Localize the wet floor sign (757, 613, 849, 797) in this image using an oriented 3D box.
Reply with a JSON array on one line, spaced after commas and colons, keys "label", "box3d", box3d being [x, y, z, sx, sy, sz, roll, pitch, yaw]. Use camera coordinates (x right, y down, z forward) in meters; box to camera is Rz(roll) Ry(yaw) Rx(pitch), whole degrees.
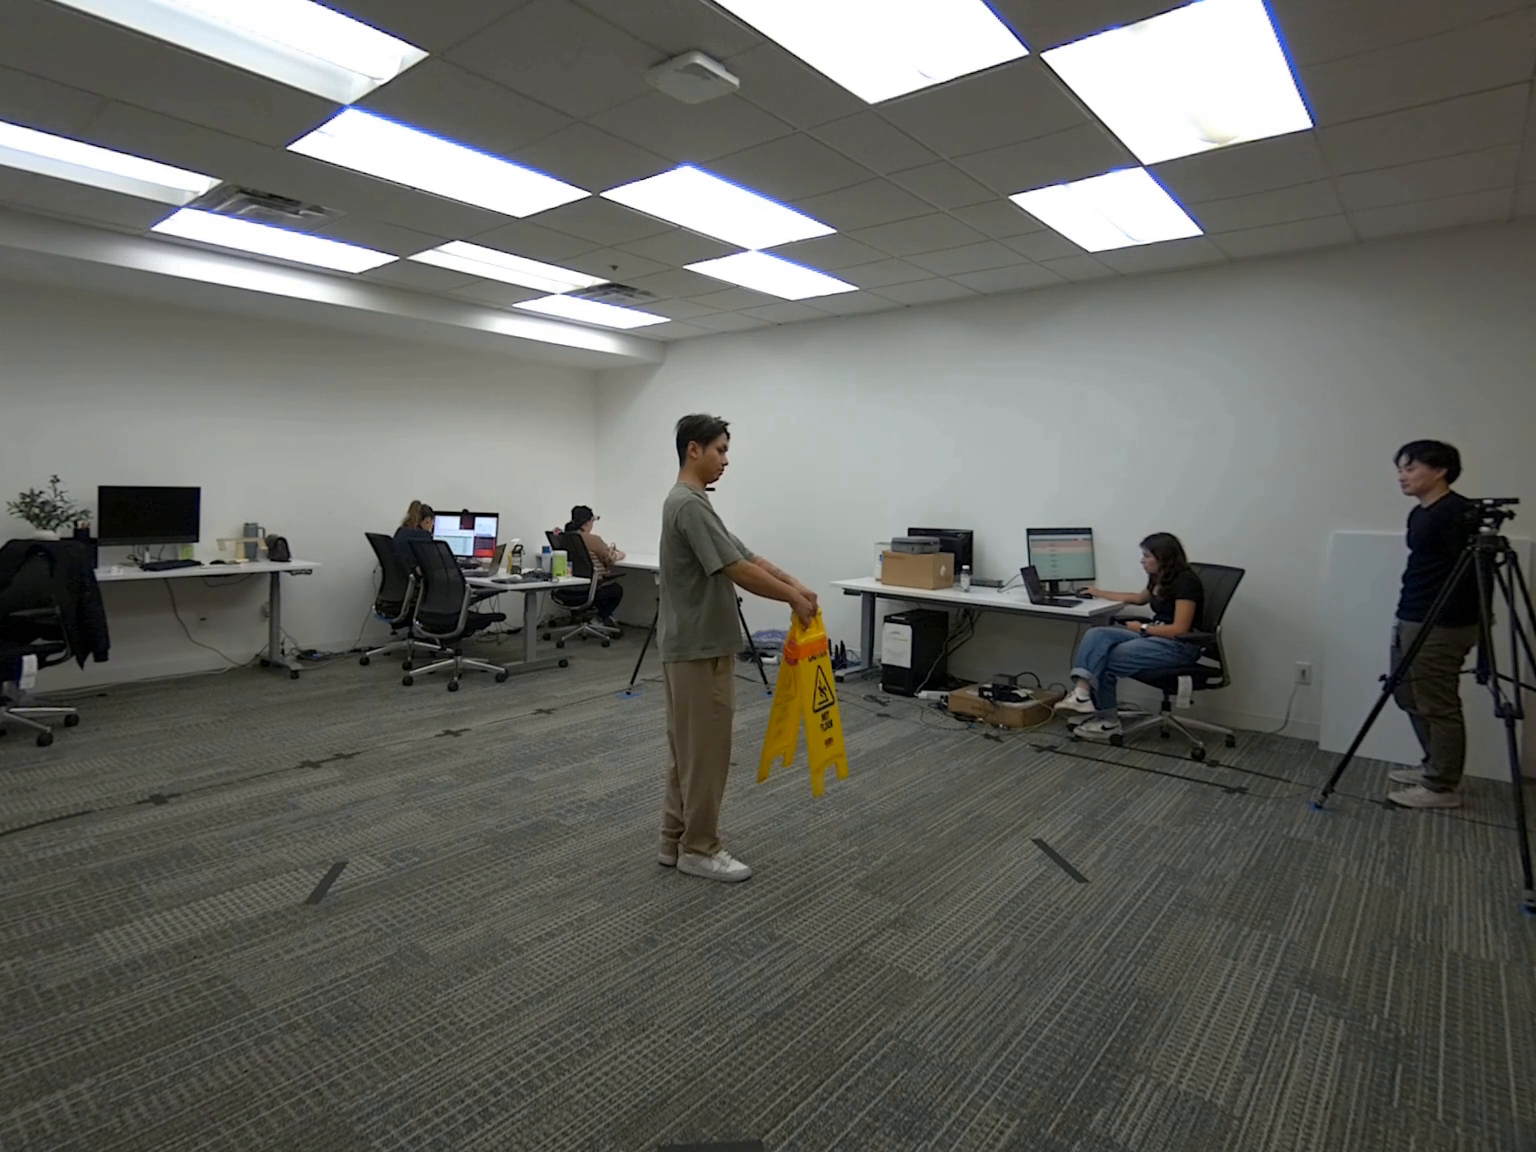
[{"label": "wet floor sign", "box3d": [0.124, 0.438, 3.149, 0.298, 0.644, 0.275, 3, 5, 31]}]
